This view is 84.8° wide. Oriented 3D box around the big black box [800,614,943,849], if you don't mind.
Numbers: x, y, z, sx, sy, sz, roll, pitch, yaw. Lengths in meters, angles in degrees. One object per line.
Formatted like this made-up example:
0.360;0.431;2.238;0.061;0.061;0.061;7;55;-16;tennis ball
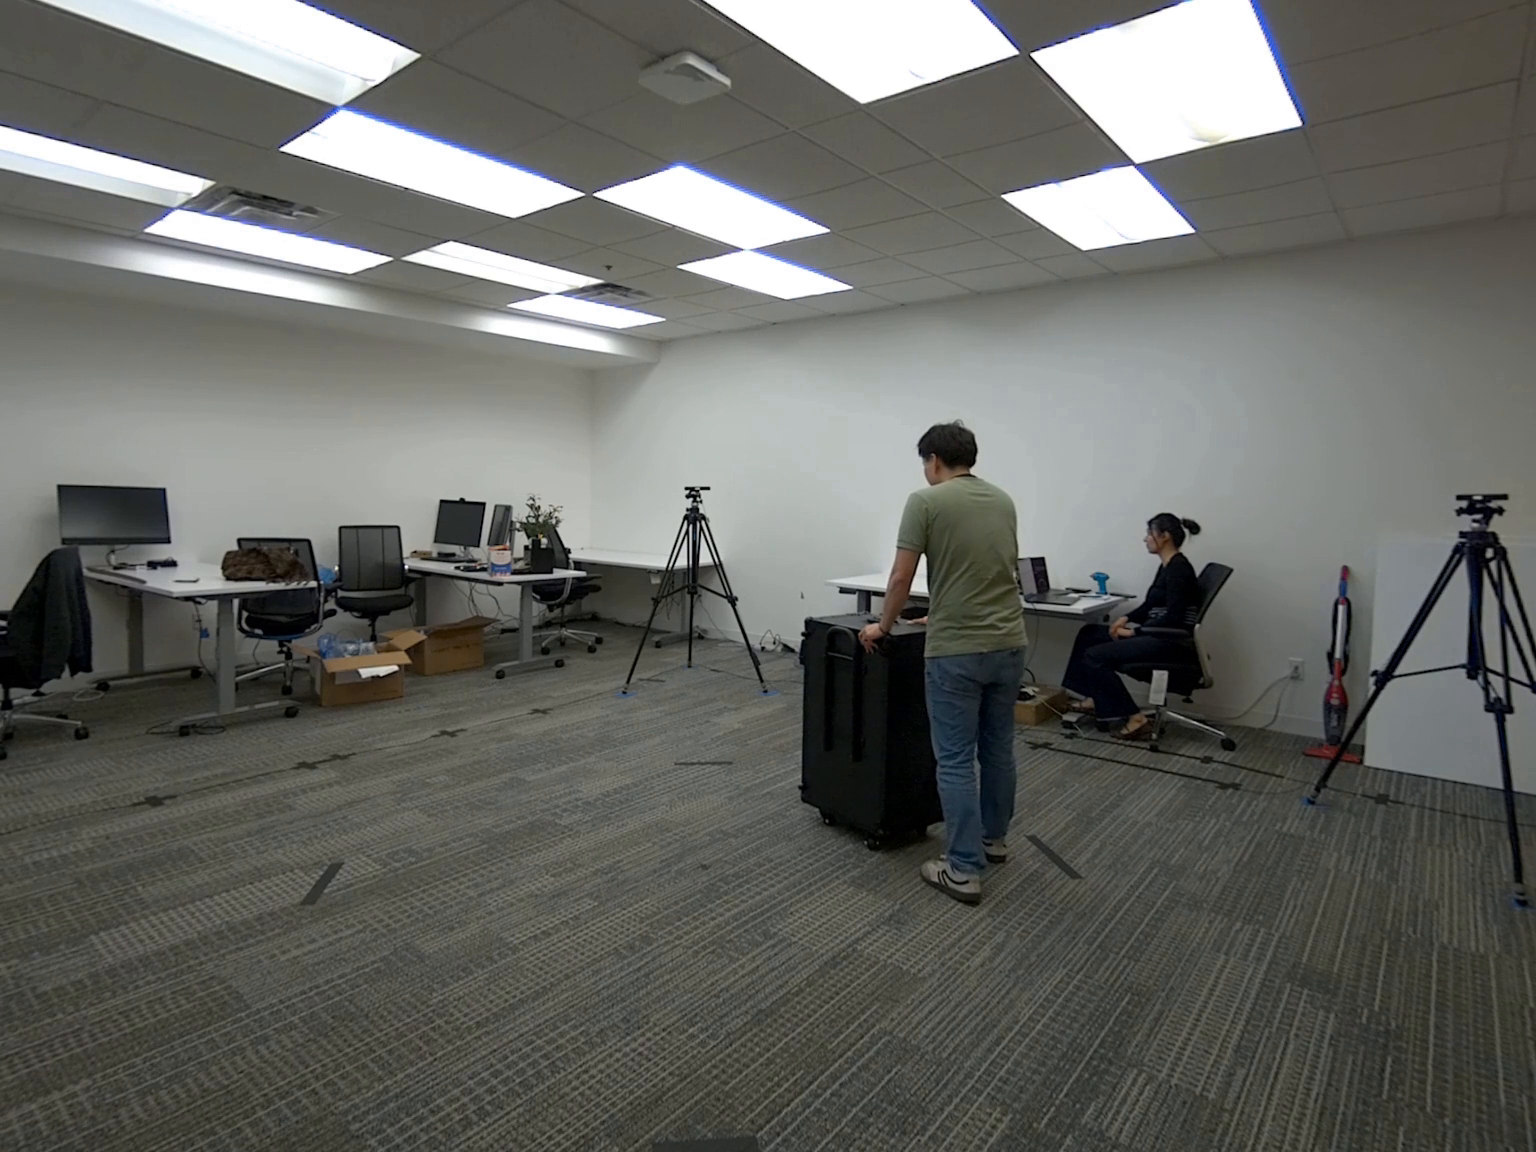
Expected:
0.415;0.612;3.487;0.385;0.858;0.538;-2;5;-37;big black box
